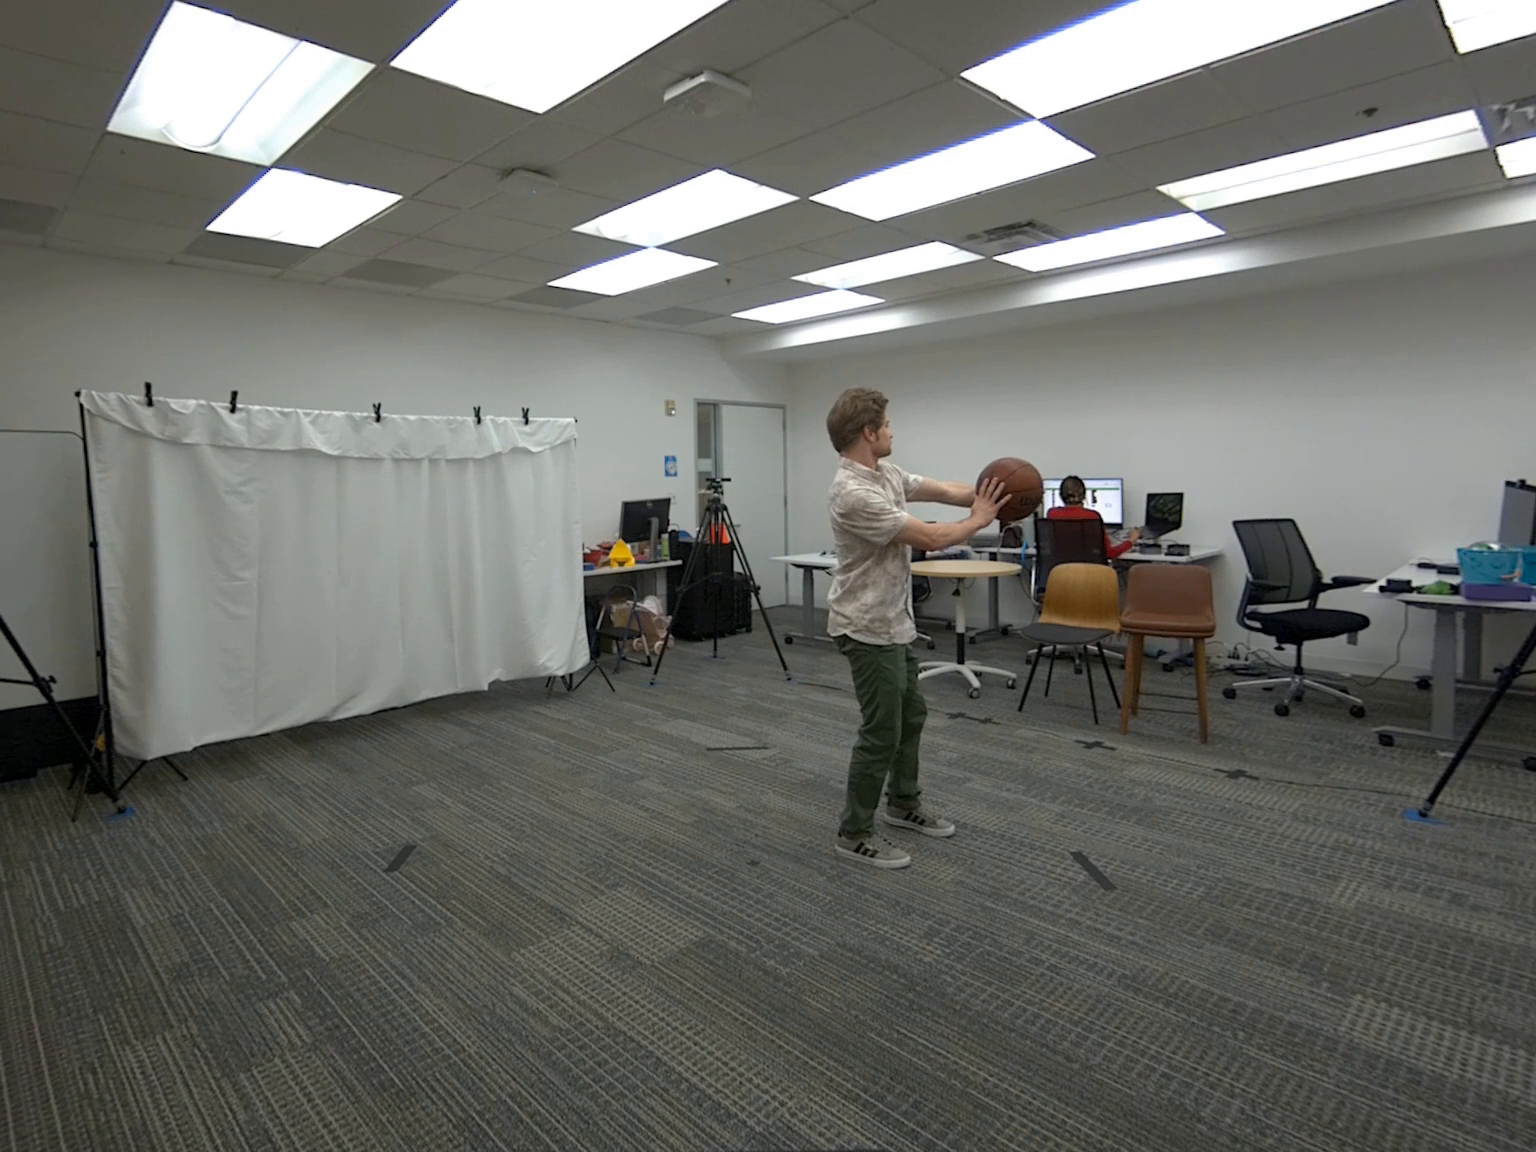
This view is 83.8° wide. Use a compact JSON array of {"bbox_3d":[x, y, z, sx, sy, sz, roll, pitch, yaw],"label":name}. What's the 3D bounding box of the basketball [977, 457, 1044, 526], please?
[{"bbox_3d":[0.891,-0.317,3.148,0.236,0.235,0.237,-1,5,-2],"label":"basketball"}]
